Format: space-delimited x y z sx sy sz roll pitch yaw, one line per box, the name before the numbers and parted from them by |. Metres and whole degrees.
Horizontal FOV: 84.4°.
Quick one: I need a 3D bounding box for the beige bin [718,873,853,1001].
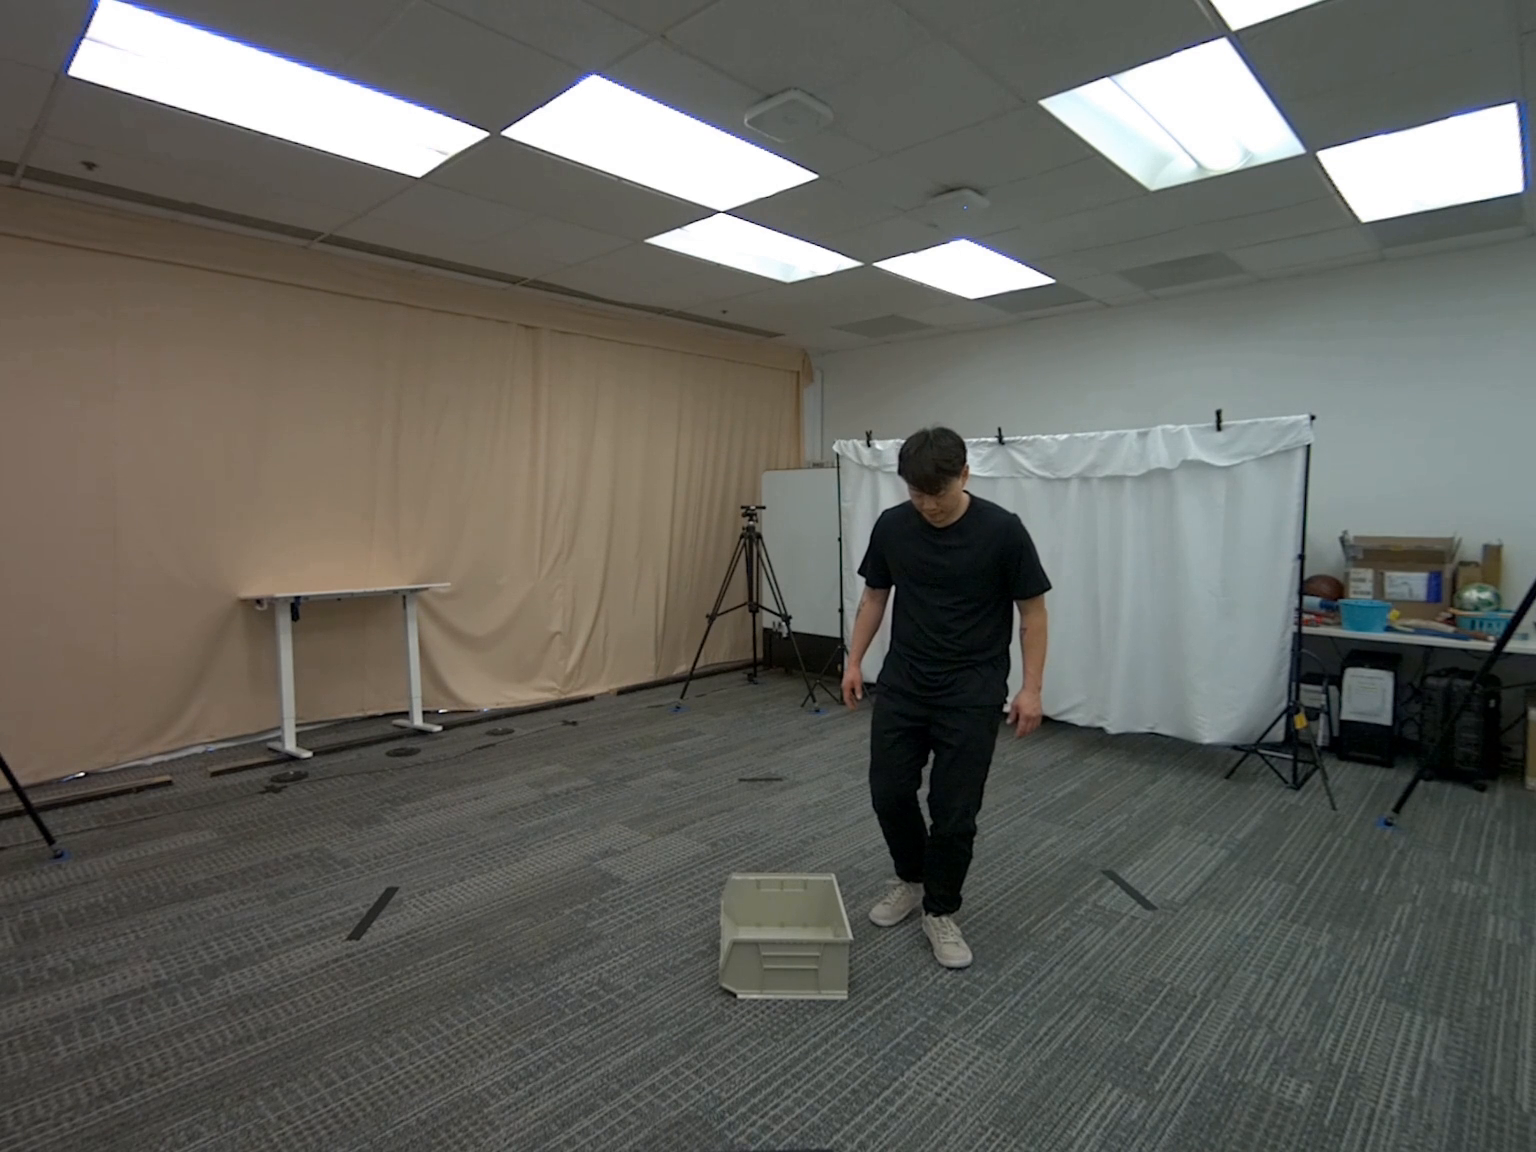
beige bin | 0.046 1.093 2.569 0.377 0.188 0.423 1 4 -1
